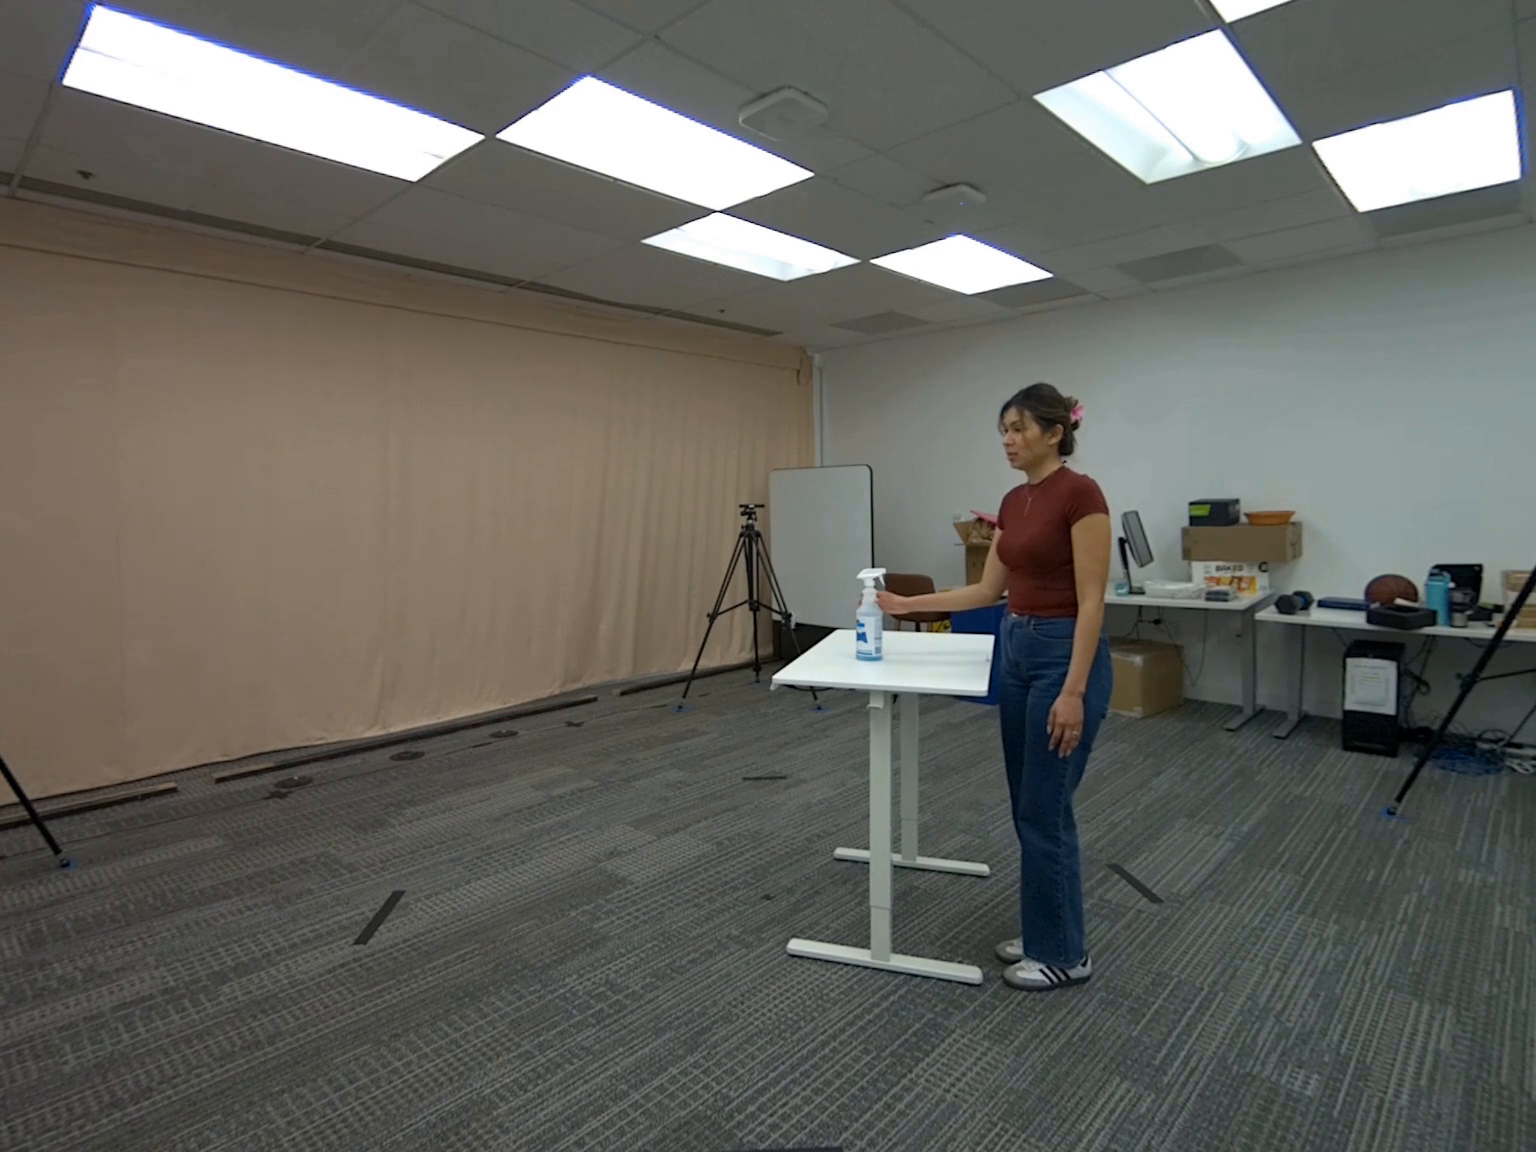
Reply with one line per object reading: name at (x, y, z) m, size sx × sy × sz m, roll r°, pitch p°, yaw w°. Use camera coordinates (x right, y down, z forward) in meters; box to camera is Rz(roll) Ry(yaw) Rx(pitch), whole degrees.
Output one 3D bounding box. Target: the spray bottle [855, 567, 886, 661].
spray bottle at (0.338, 0.127, 2.735) m, size 0.092 × 0.296 × 0.085 m, roll 4°, pitch 5°, yaw 27°
